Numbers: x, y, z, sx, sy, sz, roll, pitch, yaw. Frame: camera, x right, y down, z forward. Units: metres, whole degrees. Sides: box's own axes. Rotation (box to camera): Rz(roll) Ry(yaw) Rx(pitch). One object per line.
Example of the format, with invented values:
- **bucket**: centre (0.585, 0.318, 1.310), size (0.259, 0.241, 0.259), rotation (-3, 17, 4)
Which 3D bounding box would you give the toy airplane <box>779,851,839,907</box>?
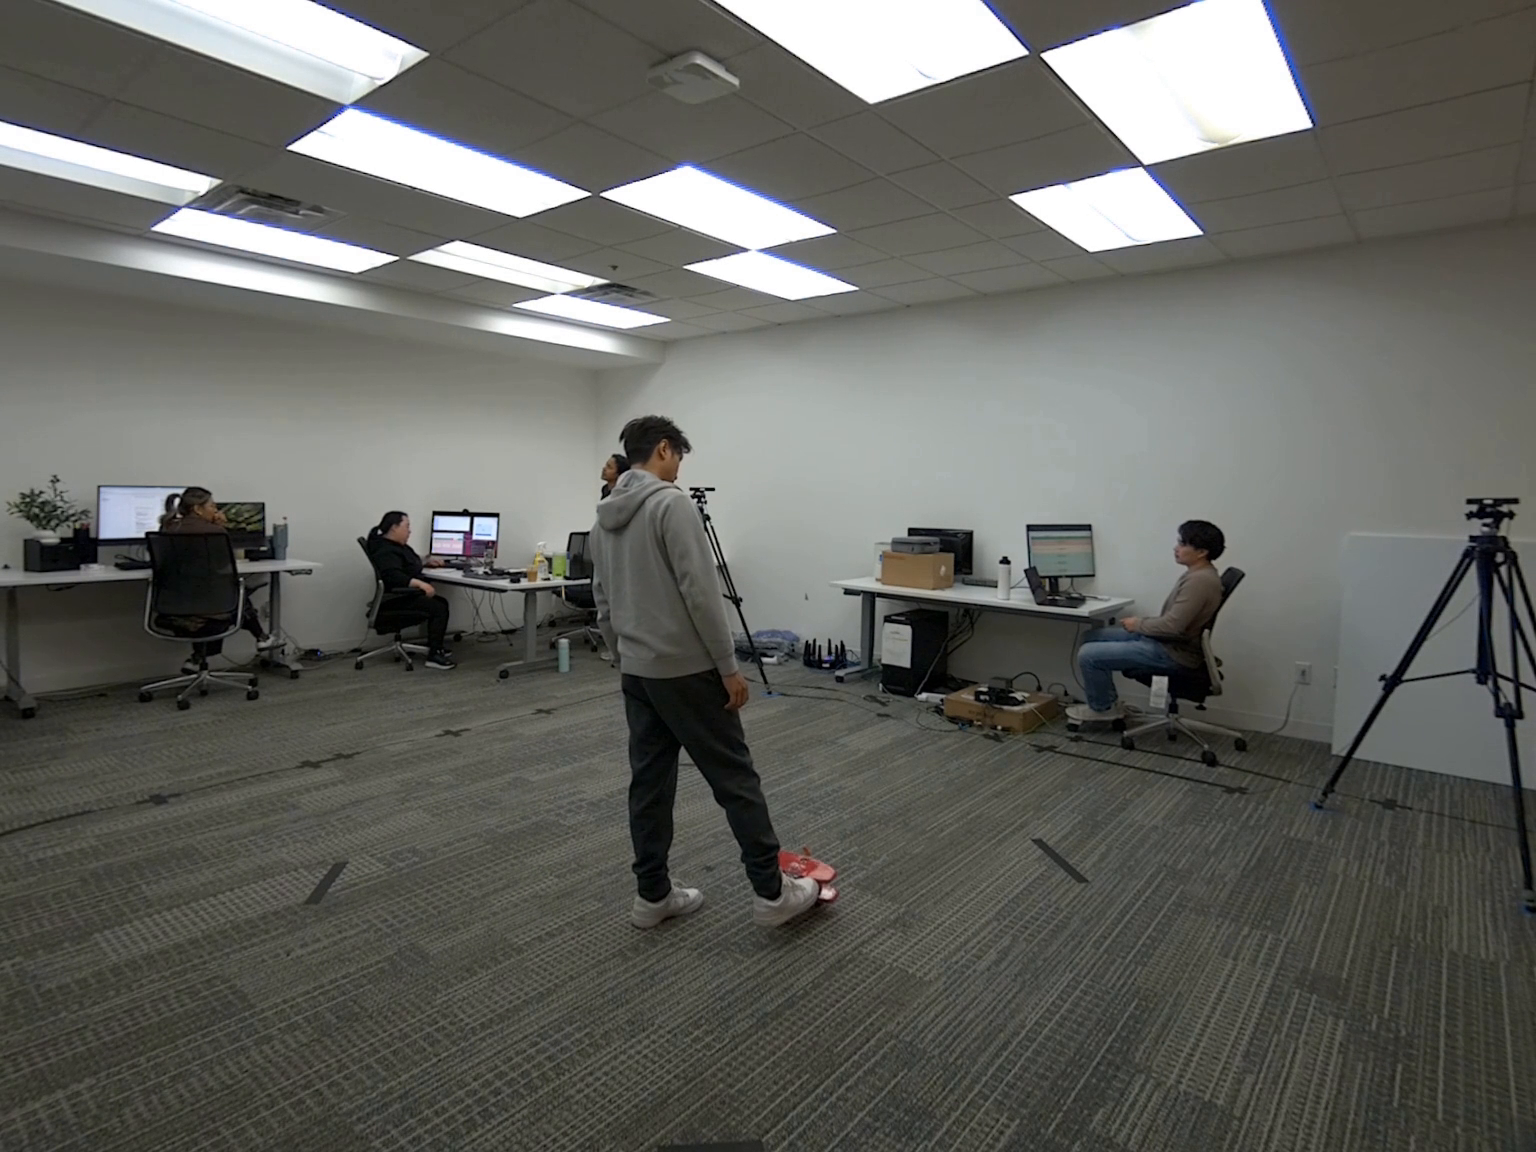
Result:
- **toy airplane**: centre (0.101, 1.026, 2.806), size (0.253, 0.156, 0.257), rotation (3, 3, 7)
